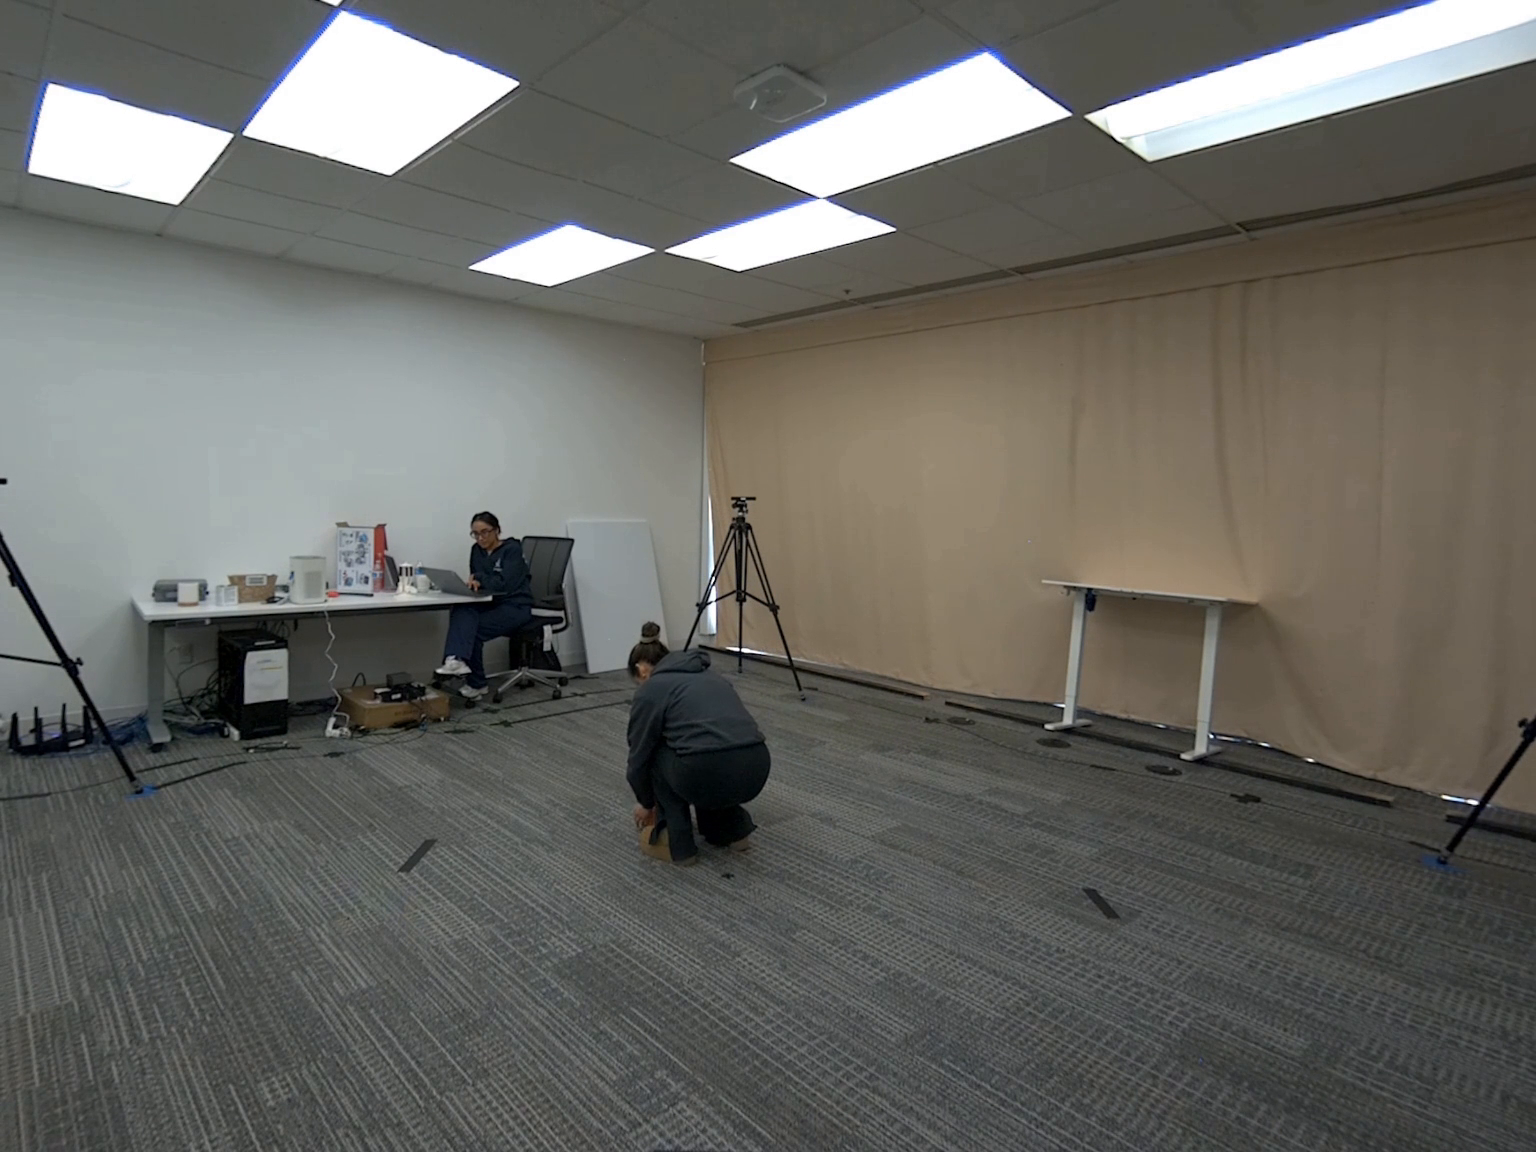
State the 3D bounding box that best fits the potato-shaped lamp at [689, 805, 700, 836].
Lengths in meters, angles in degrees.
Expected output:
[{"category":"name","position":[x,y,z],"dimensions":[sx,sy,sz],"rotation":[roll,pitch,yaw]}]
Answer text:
[{"category":"potato-shaped lamp","position":[-0.439,0.957,3.569],"dimensions":[0.176,0.197,0.161],"rotation":[7,7,38]}]
